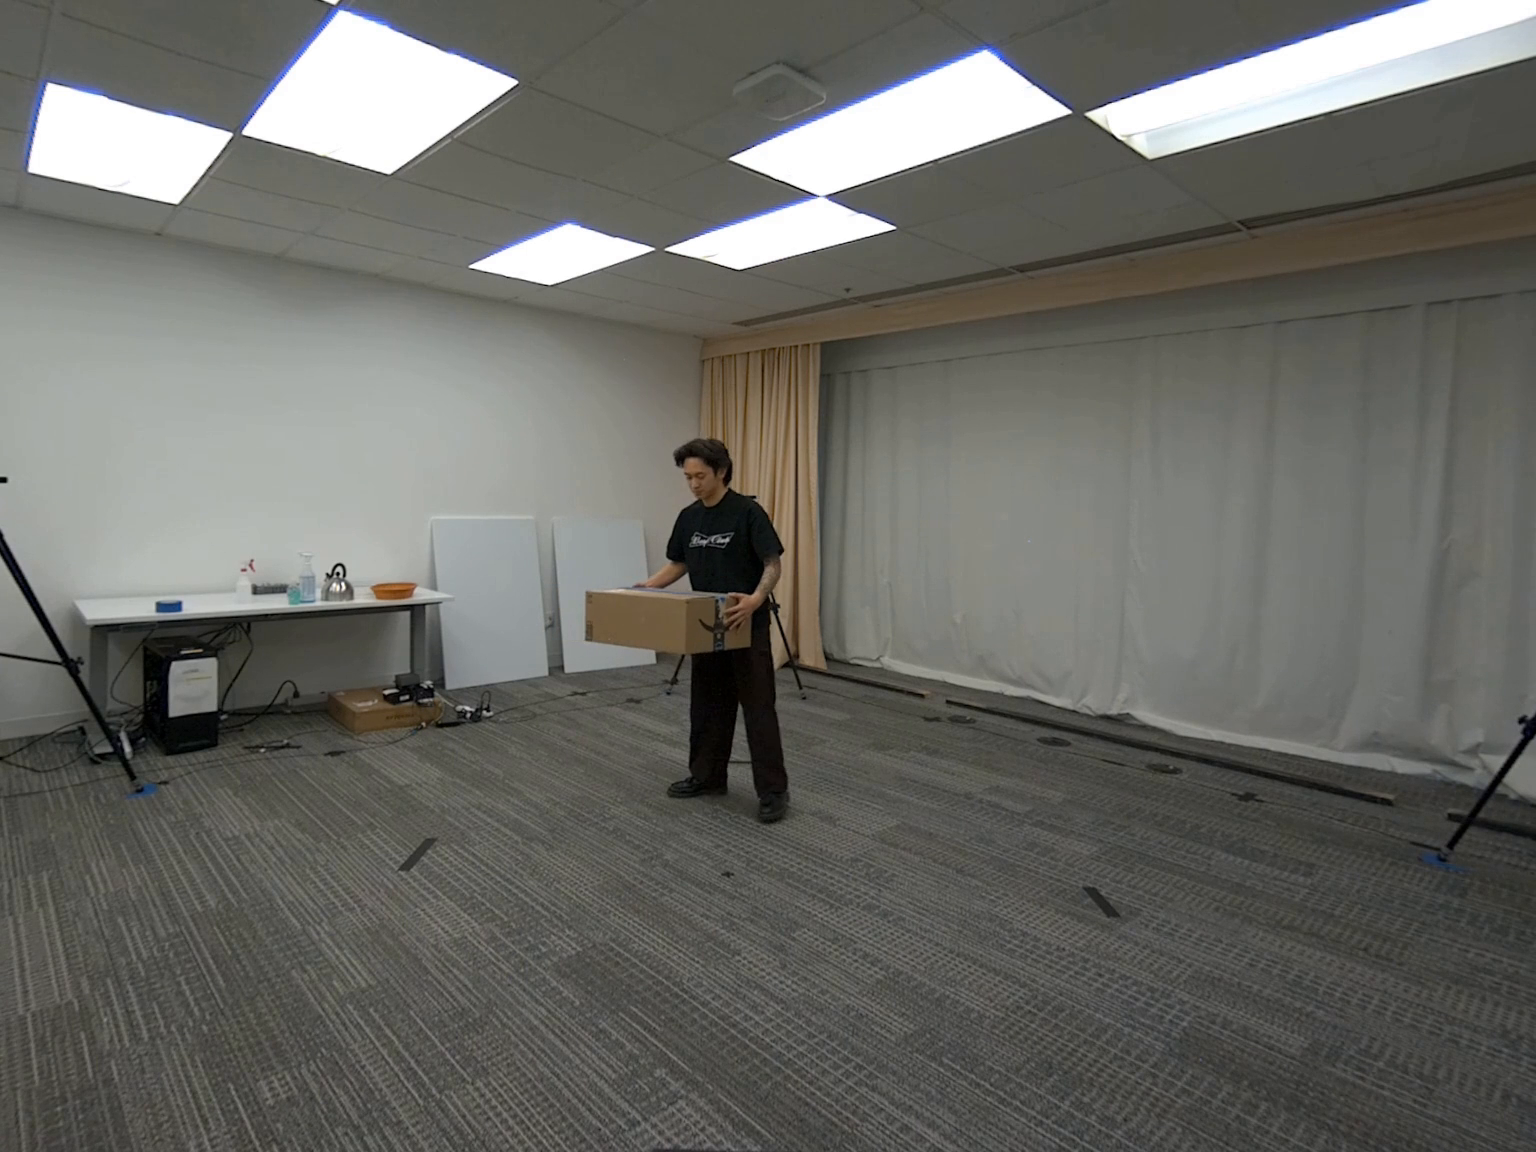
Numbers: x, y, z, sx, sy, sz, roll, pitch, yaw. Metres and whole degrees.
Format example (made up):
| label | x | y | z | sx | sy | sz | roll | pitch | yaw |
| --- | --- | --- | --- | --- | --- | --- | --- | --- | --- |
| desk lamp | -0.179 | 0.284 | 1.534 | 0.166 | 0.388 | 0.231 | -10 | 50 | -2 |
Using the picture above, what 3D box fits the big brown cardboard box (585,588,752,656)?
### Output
| label | x | y | z | sx | sy | sz | roll | pitch | yaw |
| --- | --- | --- | --- | --- | --- | --- | --- | --- | --- |
| big brown cardboard box | -0.420 | 0.177 | 3.532 | 0.603 | 0.233 | 0.408 | 5 | 4 | 37 |
